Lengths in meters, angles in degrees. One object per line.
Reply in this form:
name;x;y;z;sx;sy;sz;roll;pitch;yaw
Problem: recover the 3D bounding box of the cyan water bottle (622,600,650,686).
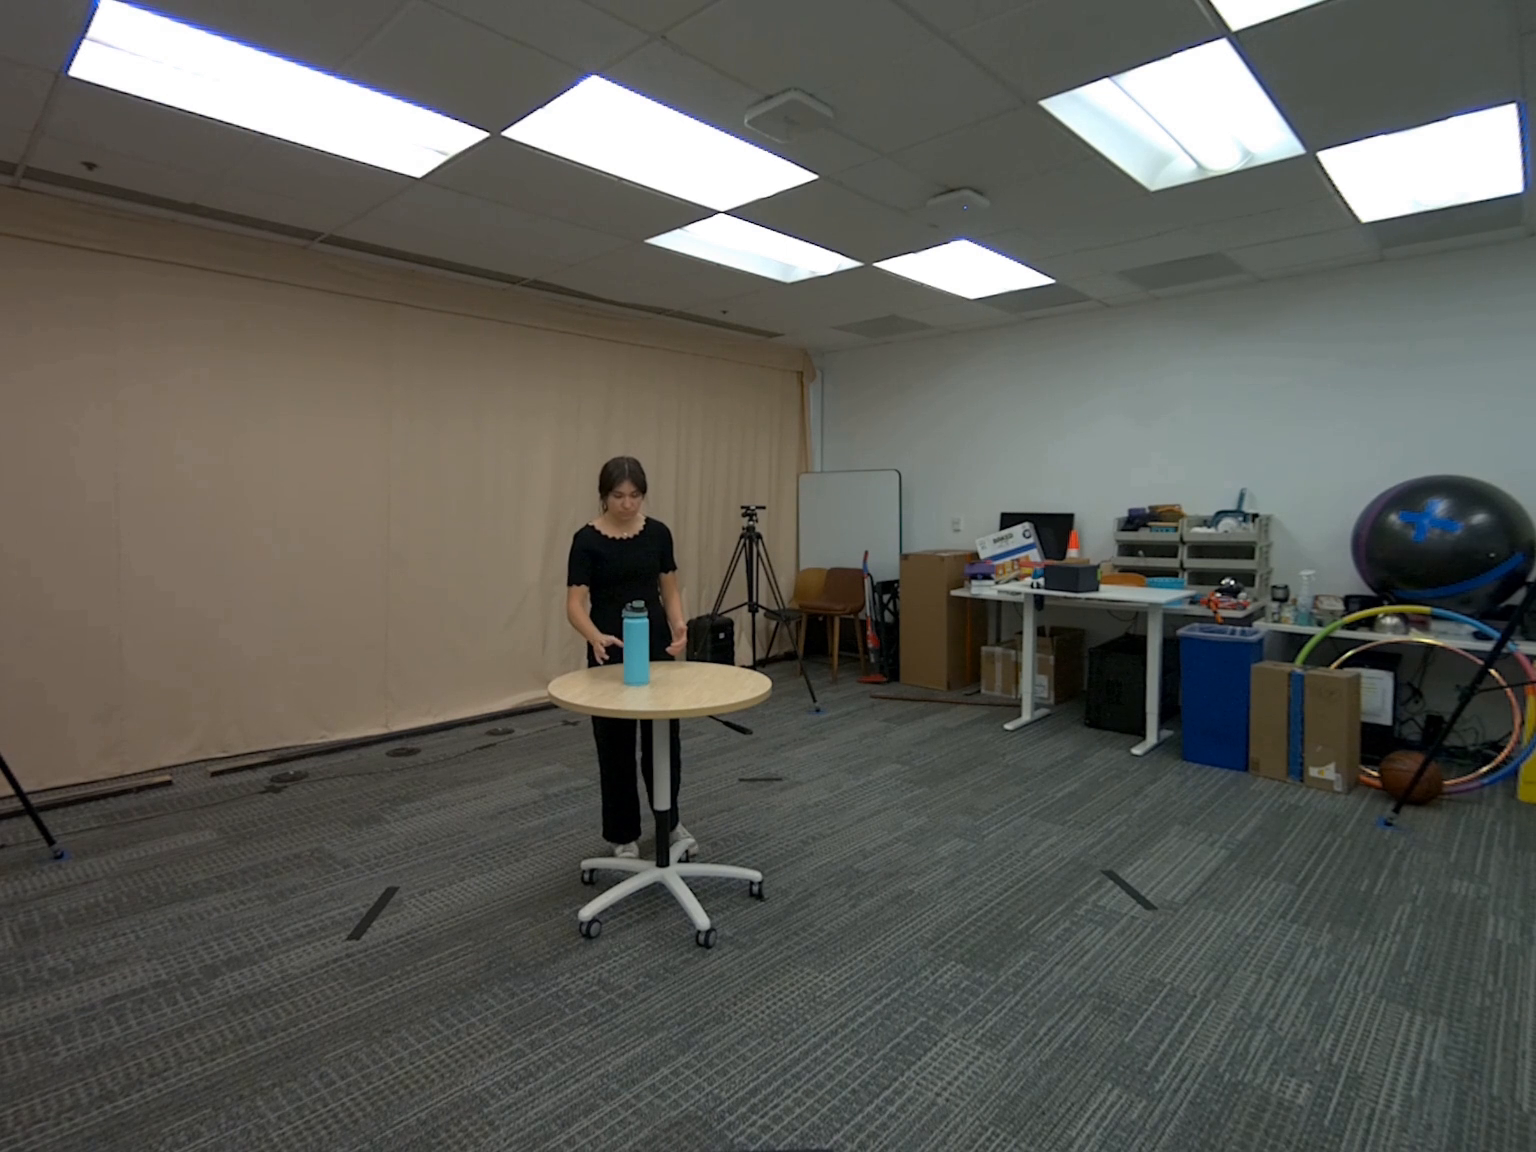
cyan water bottle;-0.452;0.228;2.898;0.092;0.283;0.092;-1;3;-2
